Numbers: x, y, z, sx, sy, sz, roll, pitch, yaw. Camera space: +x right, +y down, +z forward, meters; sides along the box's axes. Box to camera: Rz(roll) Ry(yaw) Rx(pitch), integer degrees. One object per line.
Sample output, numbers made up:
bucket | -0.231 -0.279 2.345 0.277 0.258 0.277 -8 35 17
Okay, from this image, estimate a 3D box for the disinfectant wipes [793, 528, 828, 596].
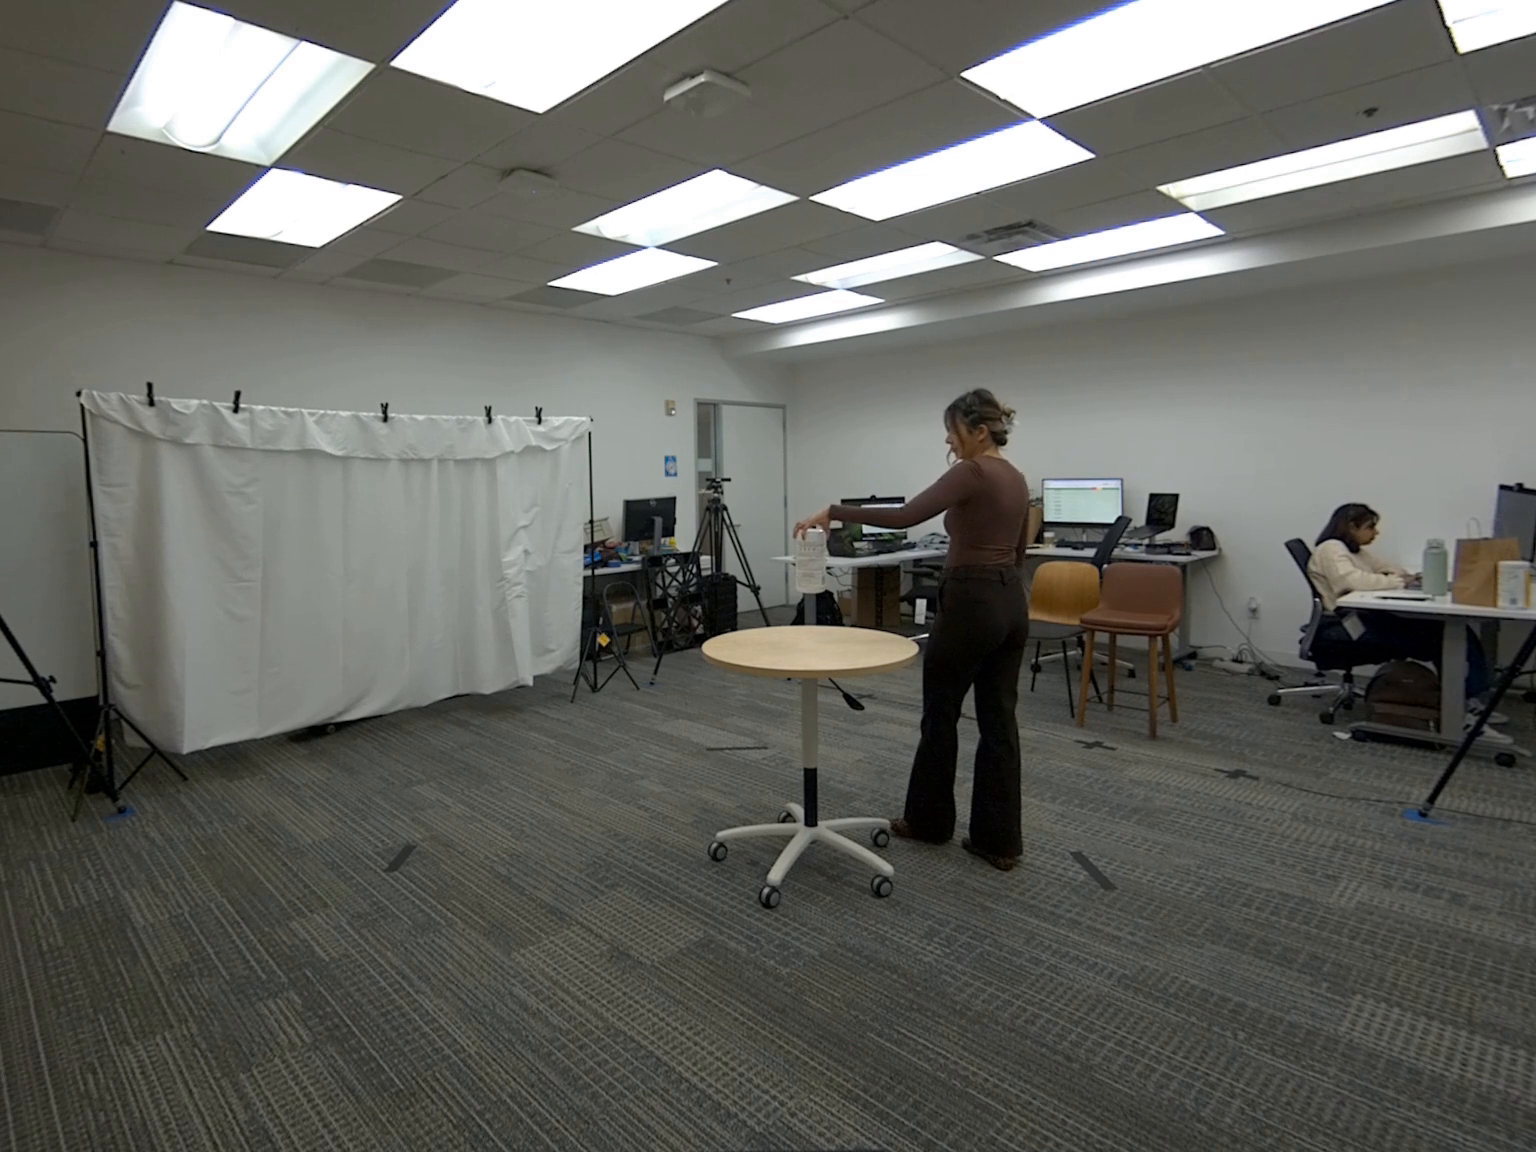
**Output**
disinfectant wipes | 0.157 -0.052 3.049 0.118 0.216 0.118 1 6 -2
